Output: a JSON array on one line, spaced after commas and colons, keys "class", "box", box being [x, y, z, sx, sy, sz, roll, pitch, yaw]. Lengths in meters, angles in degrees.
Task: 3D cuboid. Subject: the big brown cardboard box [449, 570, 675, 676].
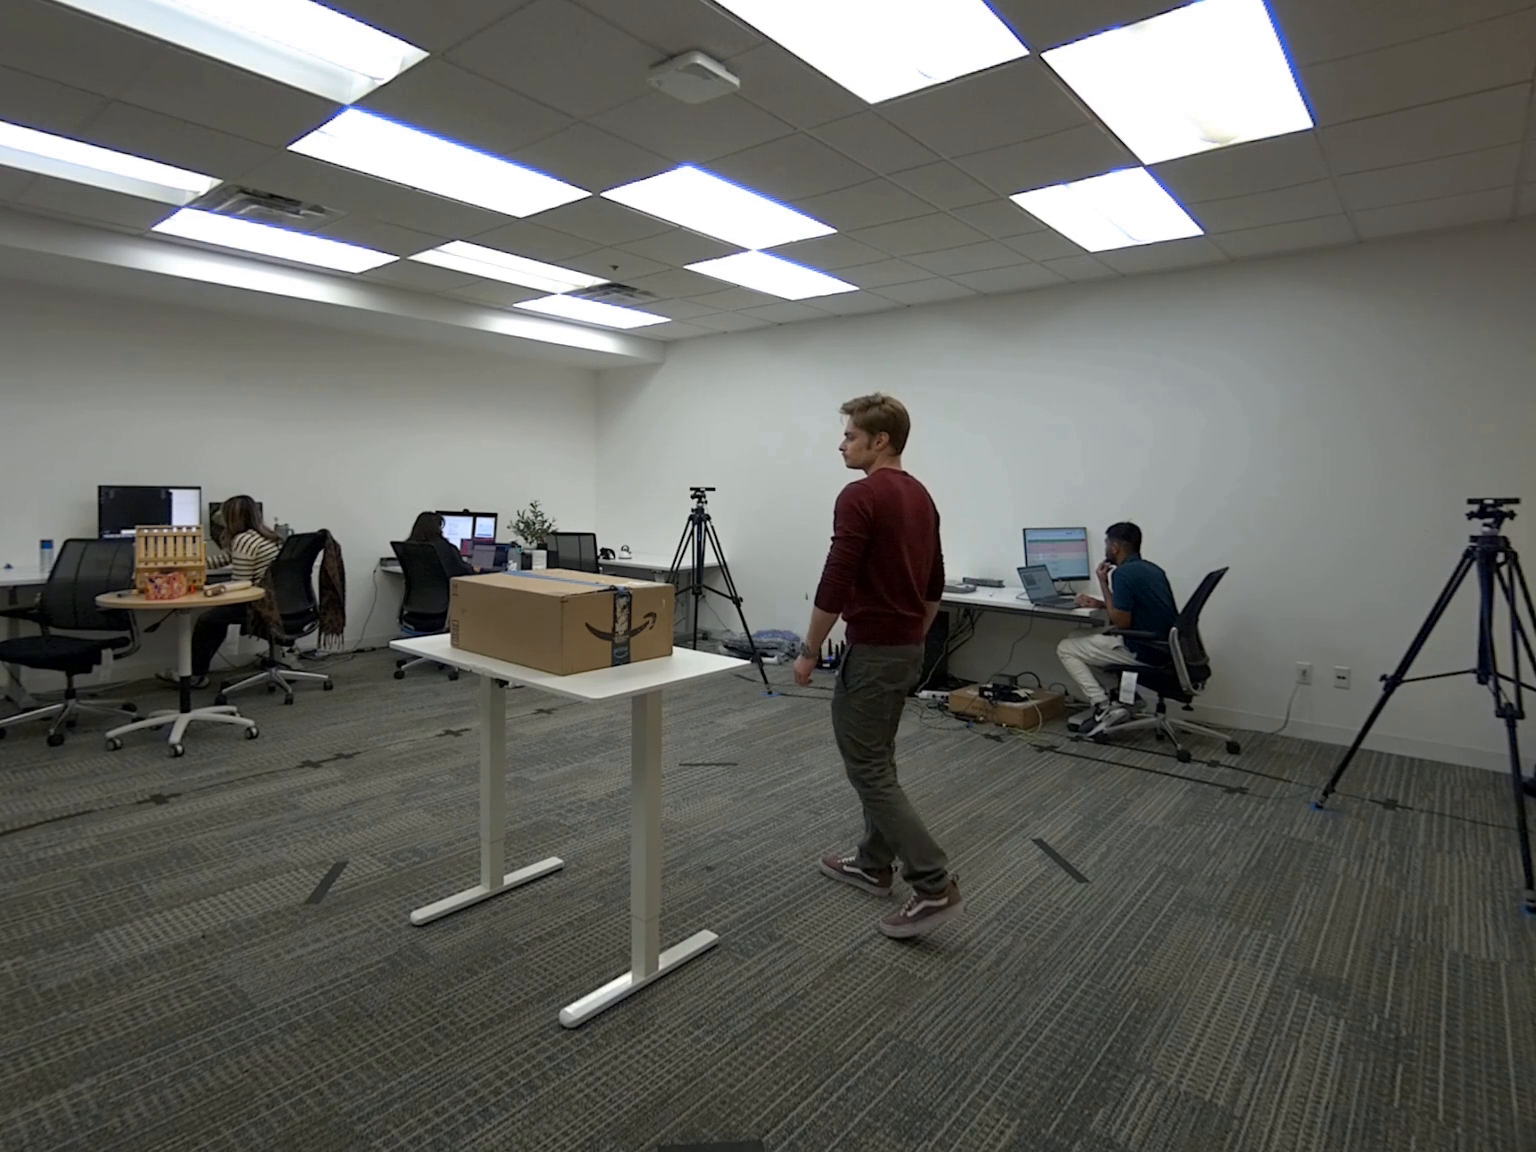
[{"class": "big brown cardboard box", "box": [-0.641, 0.121, 2.585, 0.609, 0.232, 0.405, 5, 7, 40]}]
